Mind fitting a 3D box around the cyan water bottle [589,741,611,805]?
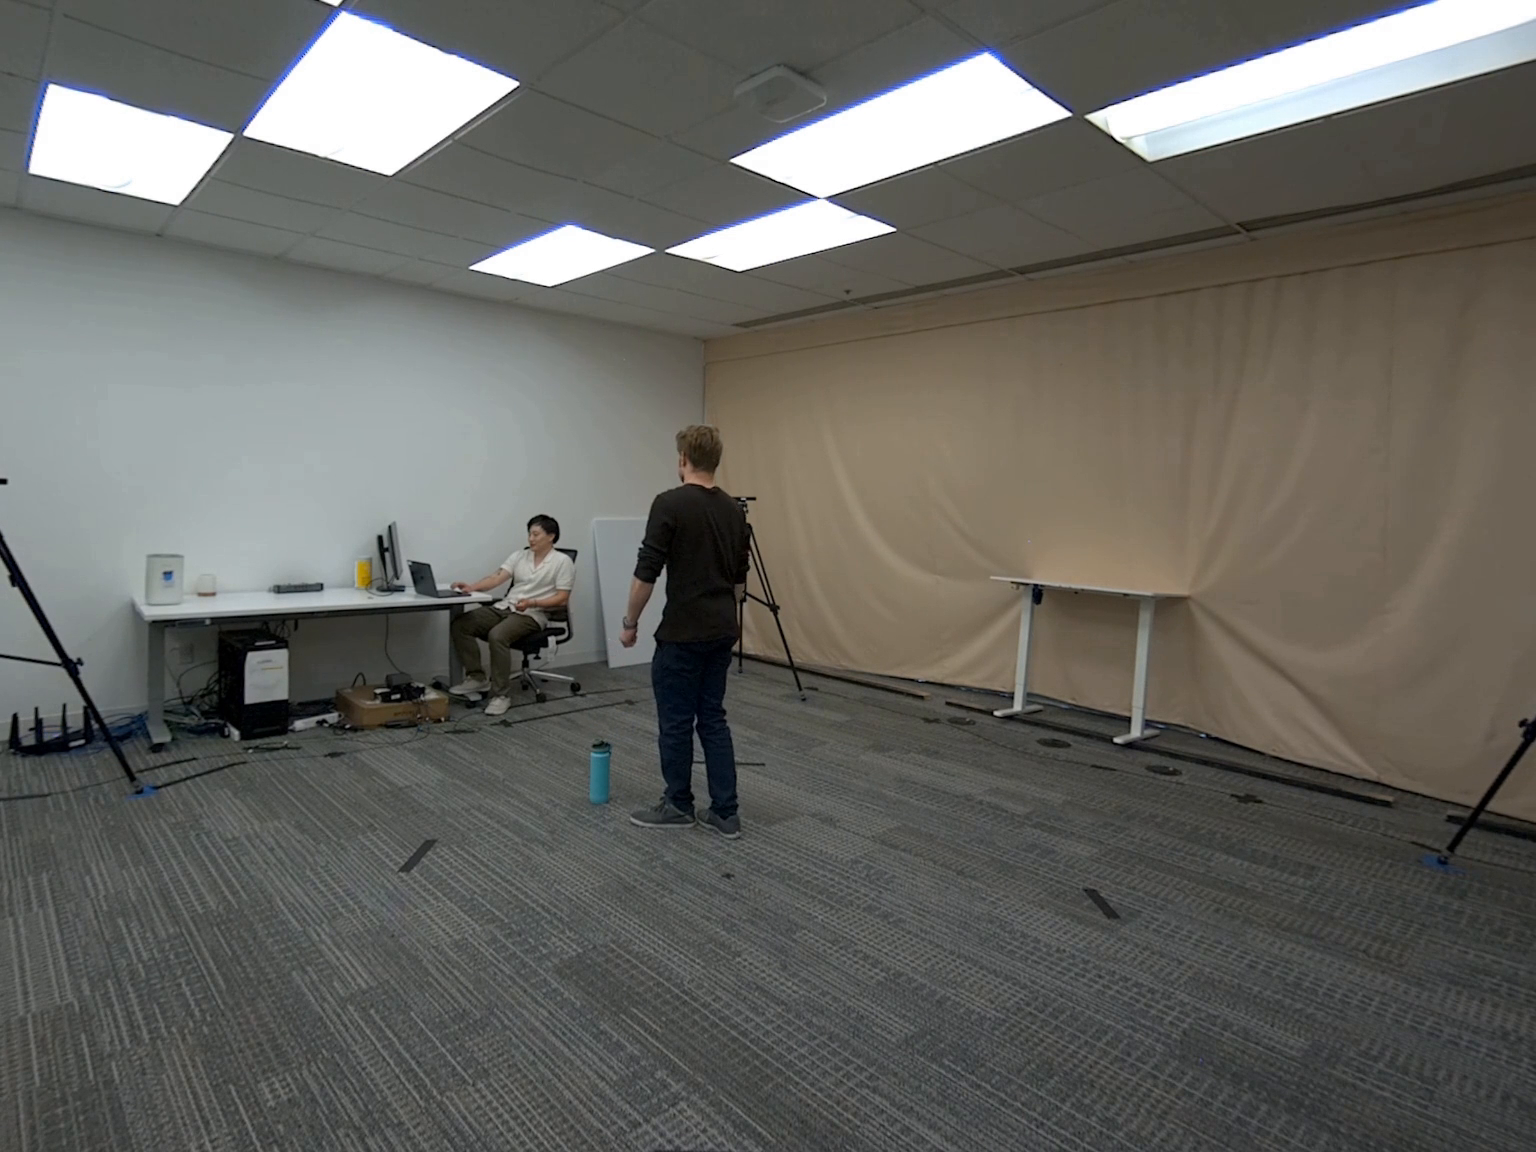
[{"bbox_3d":[-0.780,0.887,3.847,0.092,0.283,0.092,2,3,-2],"label":"cyan water bottle"}]
